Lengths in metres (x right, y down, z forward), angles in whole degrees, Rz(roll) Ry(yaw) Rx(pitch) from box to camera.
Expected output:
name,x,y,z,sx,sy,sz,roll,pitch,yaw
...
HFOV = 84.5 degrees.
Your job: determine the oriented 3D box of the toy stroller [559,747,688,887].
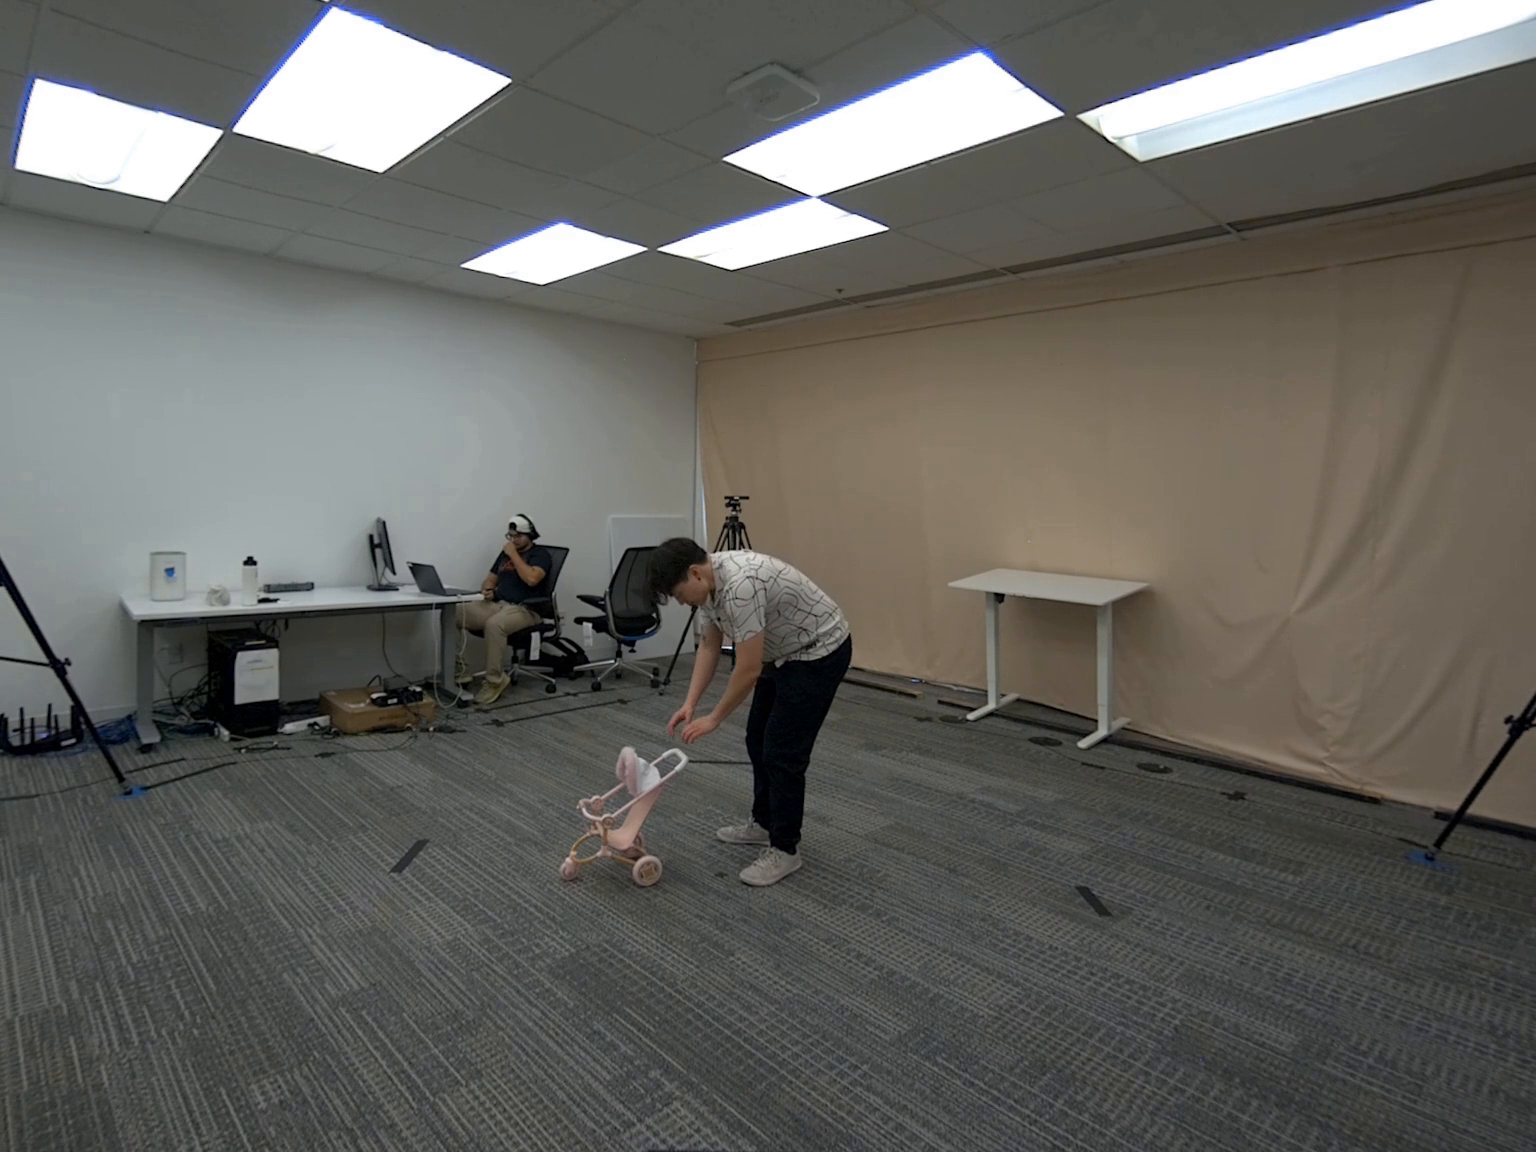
name,x,y,z,sx,sy,sz,roll,pitch,yaw
toy stroller,-0.537,0.871,3.083,0.336,0.535,0.286,17,-1,-17
